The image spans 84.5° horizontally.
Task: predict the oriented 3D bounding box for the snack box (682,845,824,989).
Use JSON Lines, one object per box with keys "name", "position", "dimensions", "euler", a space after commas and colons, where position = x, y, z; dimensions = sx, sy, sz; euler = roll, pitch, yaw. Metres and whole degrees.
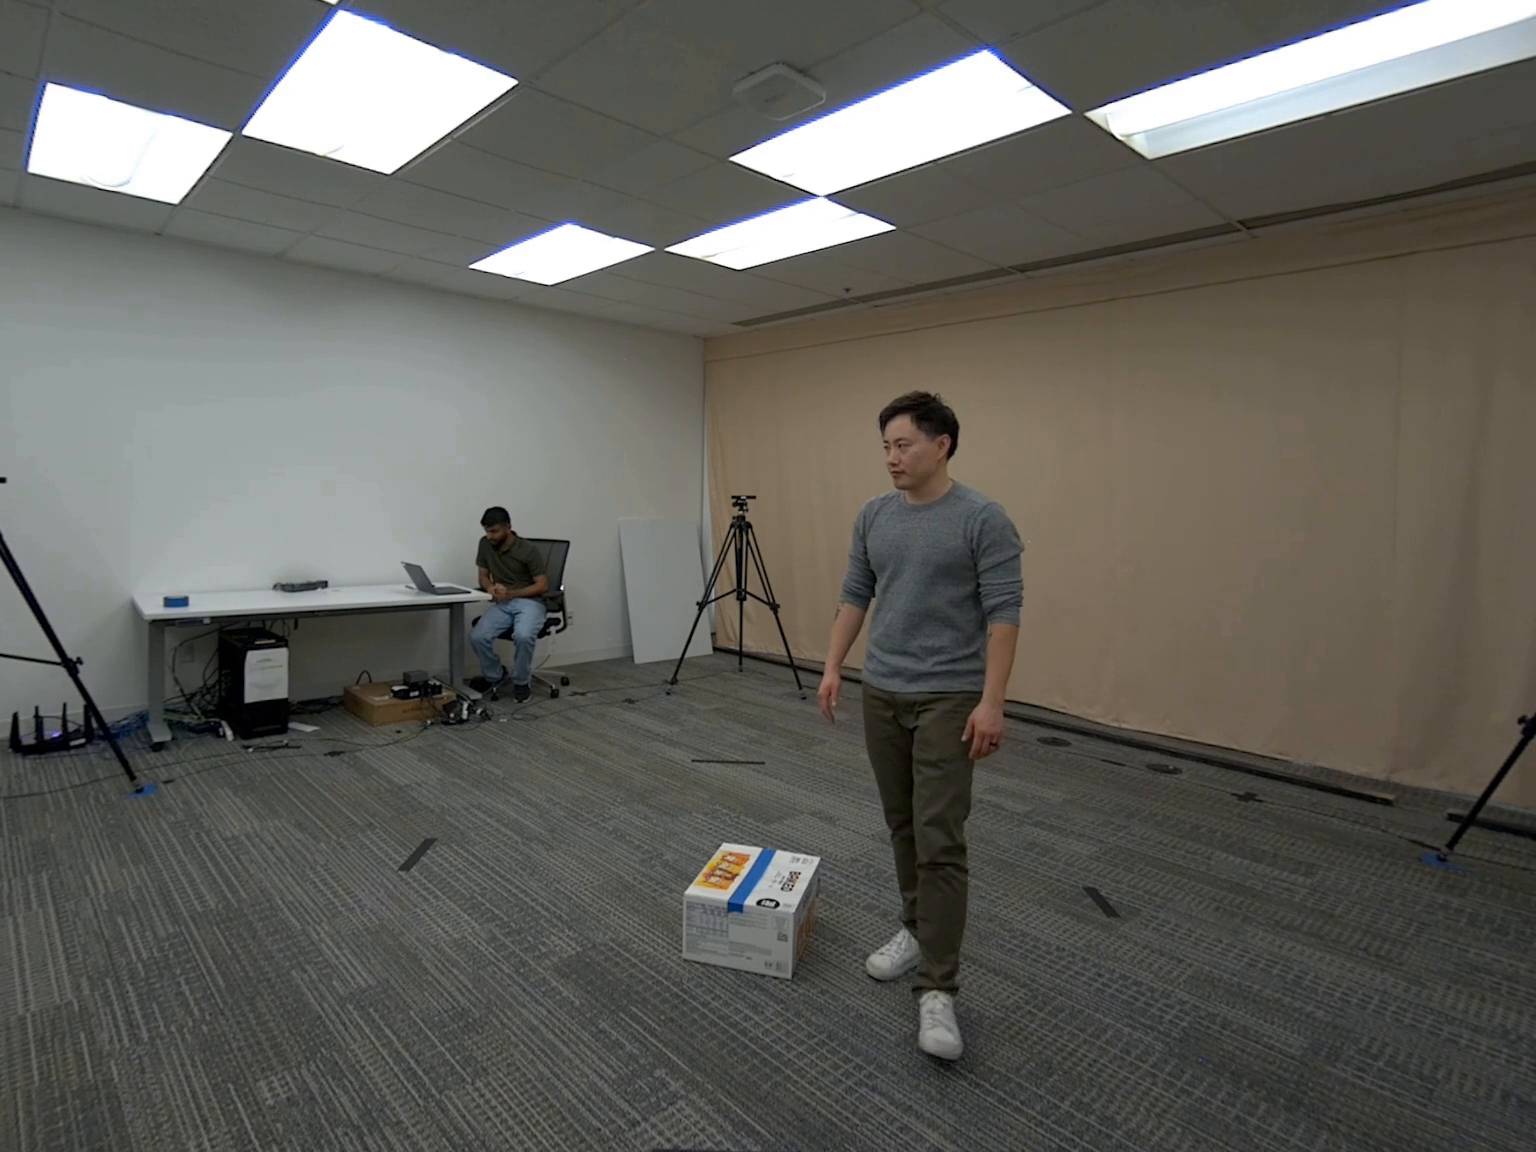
{"name": "snack box", "position": [-0.039, 1.048, 2.653], "dimensions": [0.345, 0.205, 0.401], "euler": [3, 5, 16]}
